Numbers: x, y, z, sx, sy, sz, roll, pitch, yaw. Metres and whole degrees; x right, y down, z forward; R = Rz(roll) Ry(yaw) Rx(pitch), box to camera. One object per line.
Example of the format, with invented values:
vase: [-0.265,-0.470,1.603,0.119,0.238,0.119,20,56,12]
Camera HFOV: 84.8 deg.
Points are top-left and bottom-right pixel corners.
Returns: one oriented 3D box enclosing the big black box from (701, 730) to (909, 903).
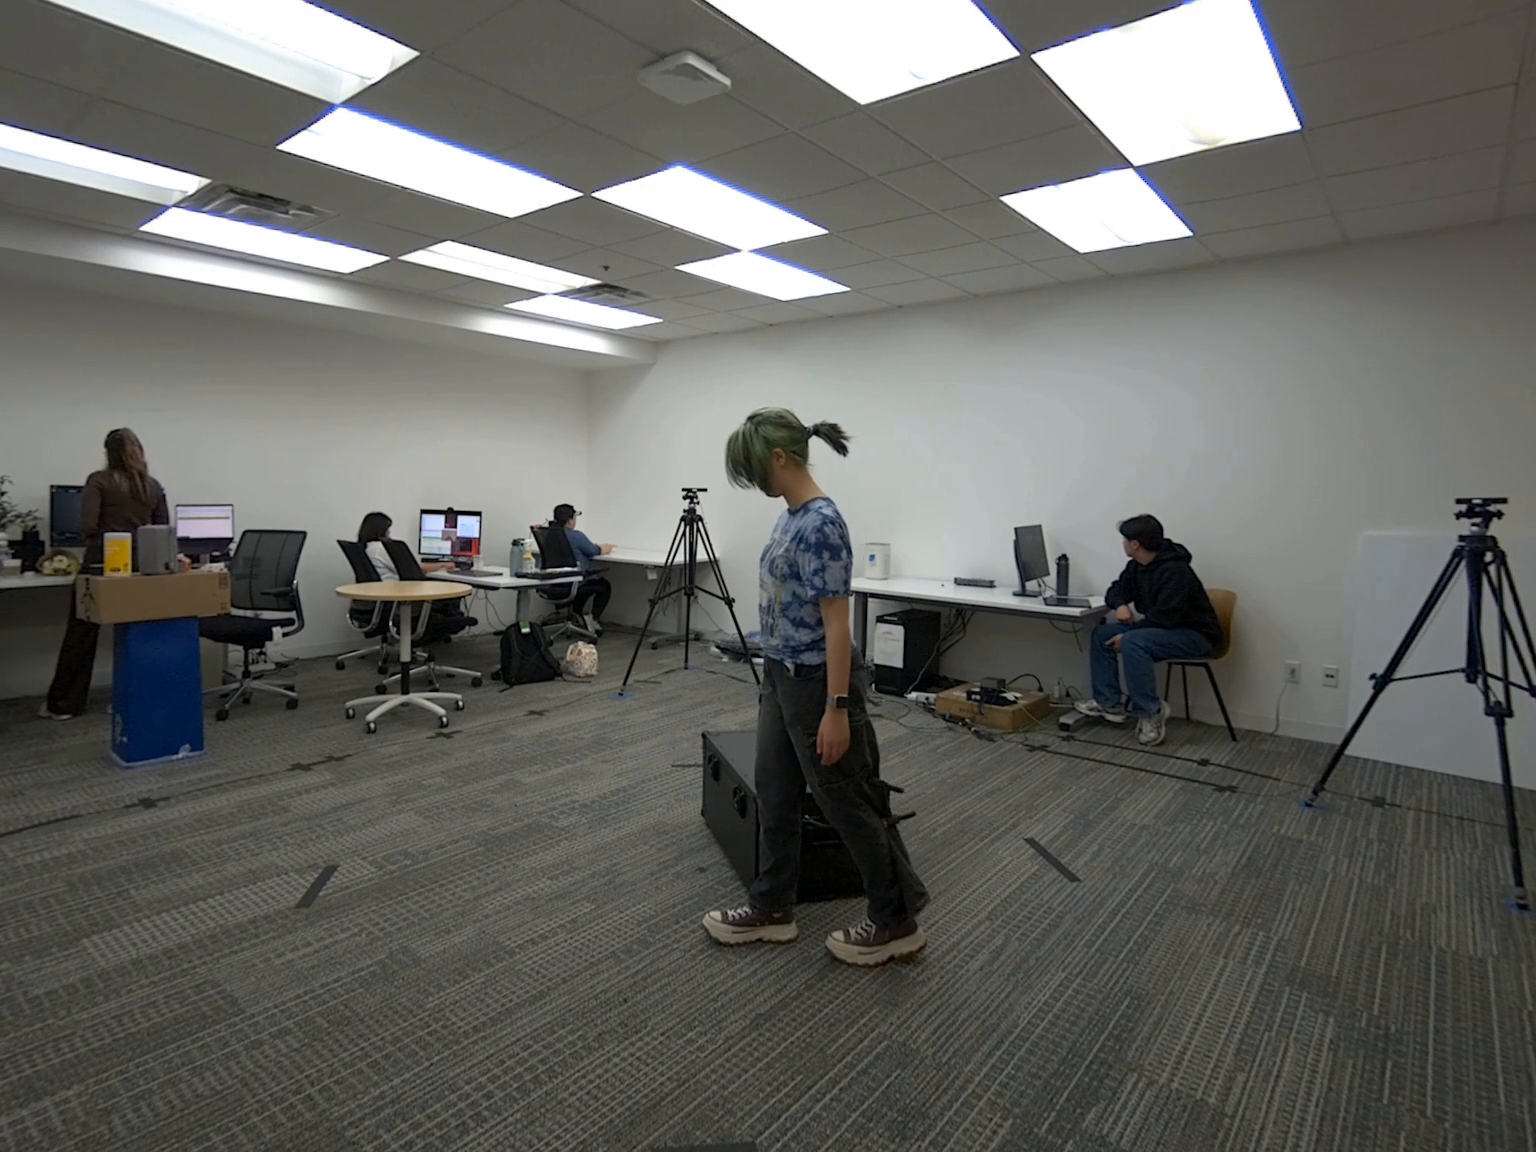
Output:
big black box: [0.068,0.875,3.220,0.513,0.395,0.879,-1,6,-17]
